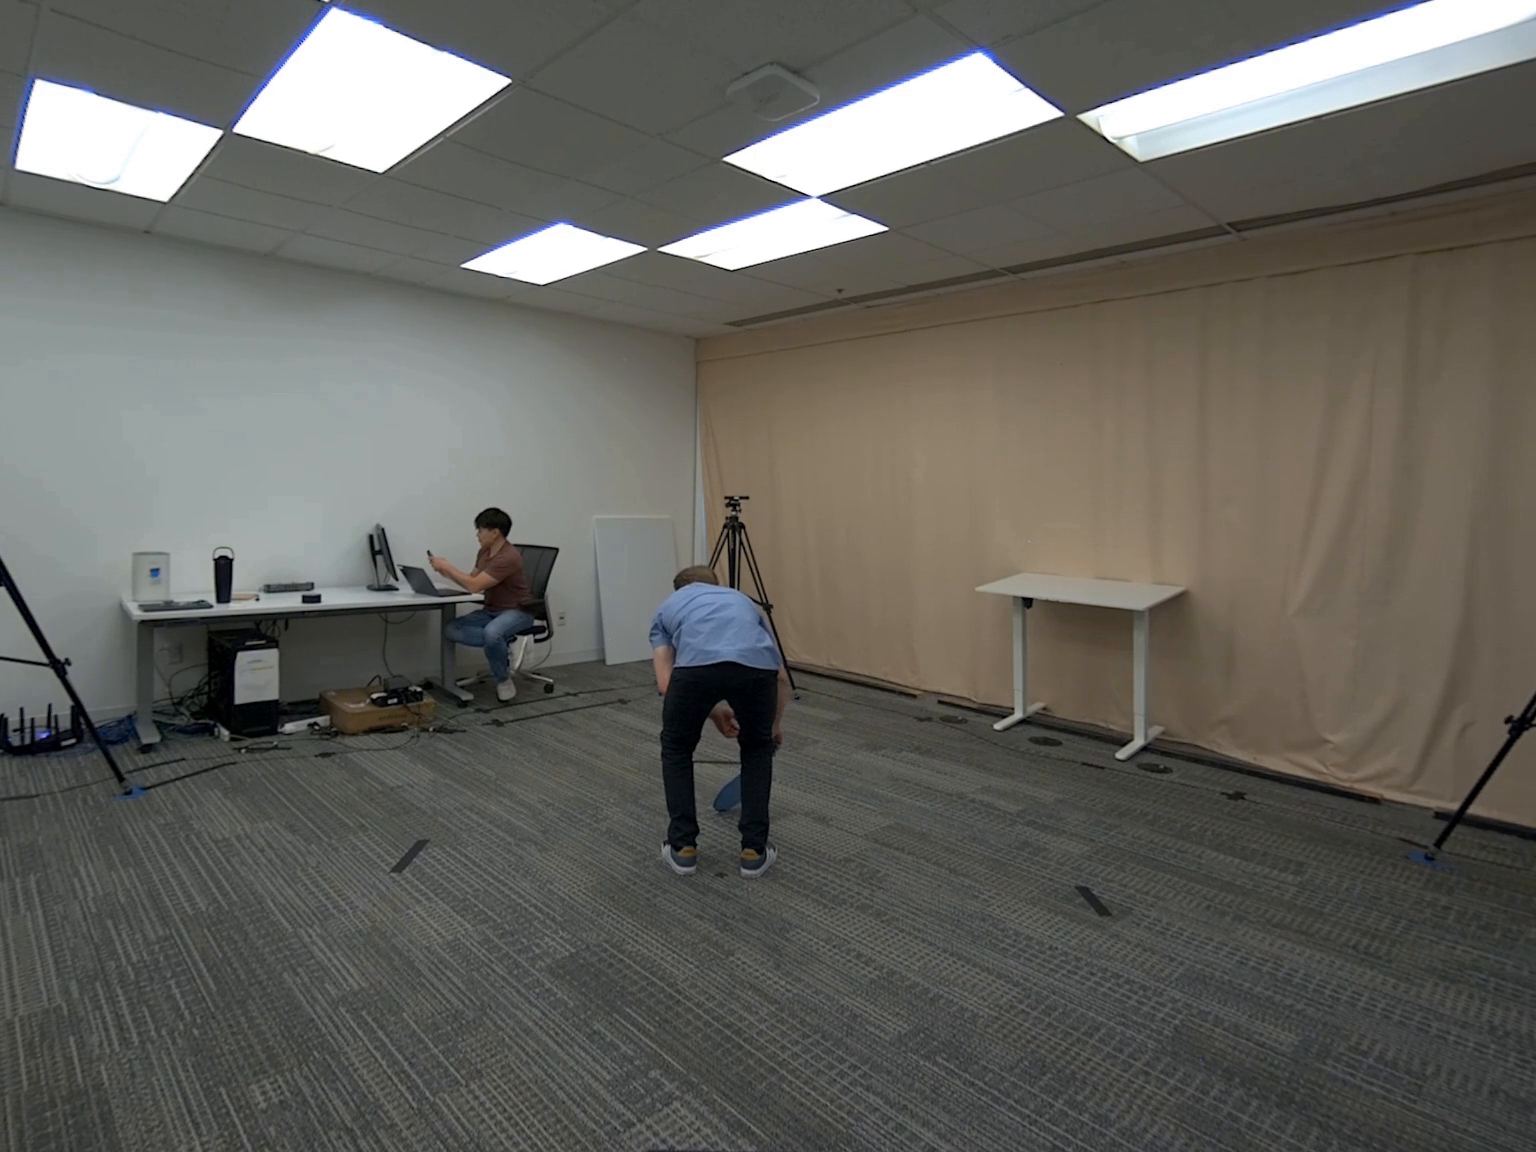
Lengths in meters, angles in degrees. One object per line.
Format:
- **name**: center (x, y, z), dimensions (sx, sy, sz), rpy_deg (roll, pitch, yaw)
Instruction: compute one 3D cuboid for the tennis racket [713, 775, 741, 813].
- **tennis racket**: center (-0.096, 0.870, 3.649), dimensions (0.208, 0.432, 0.033), rpy_deg (12, 31, -51)
